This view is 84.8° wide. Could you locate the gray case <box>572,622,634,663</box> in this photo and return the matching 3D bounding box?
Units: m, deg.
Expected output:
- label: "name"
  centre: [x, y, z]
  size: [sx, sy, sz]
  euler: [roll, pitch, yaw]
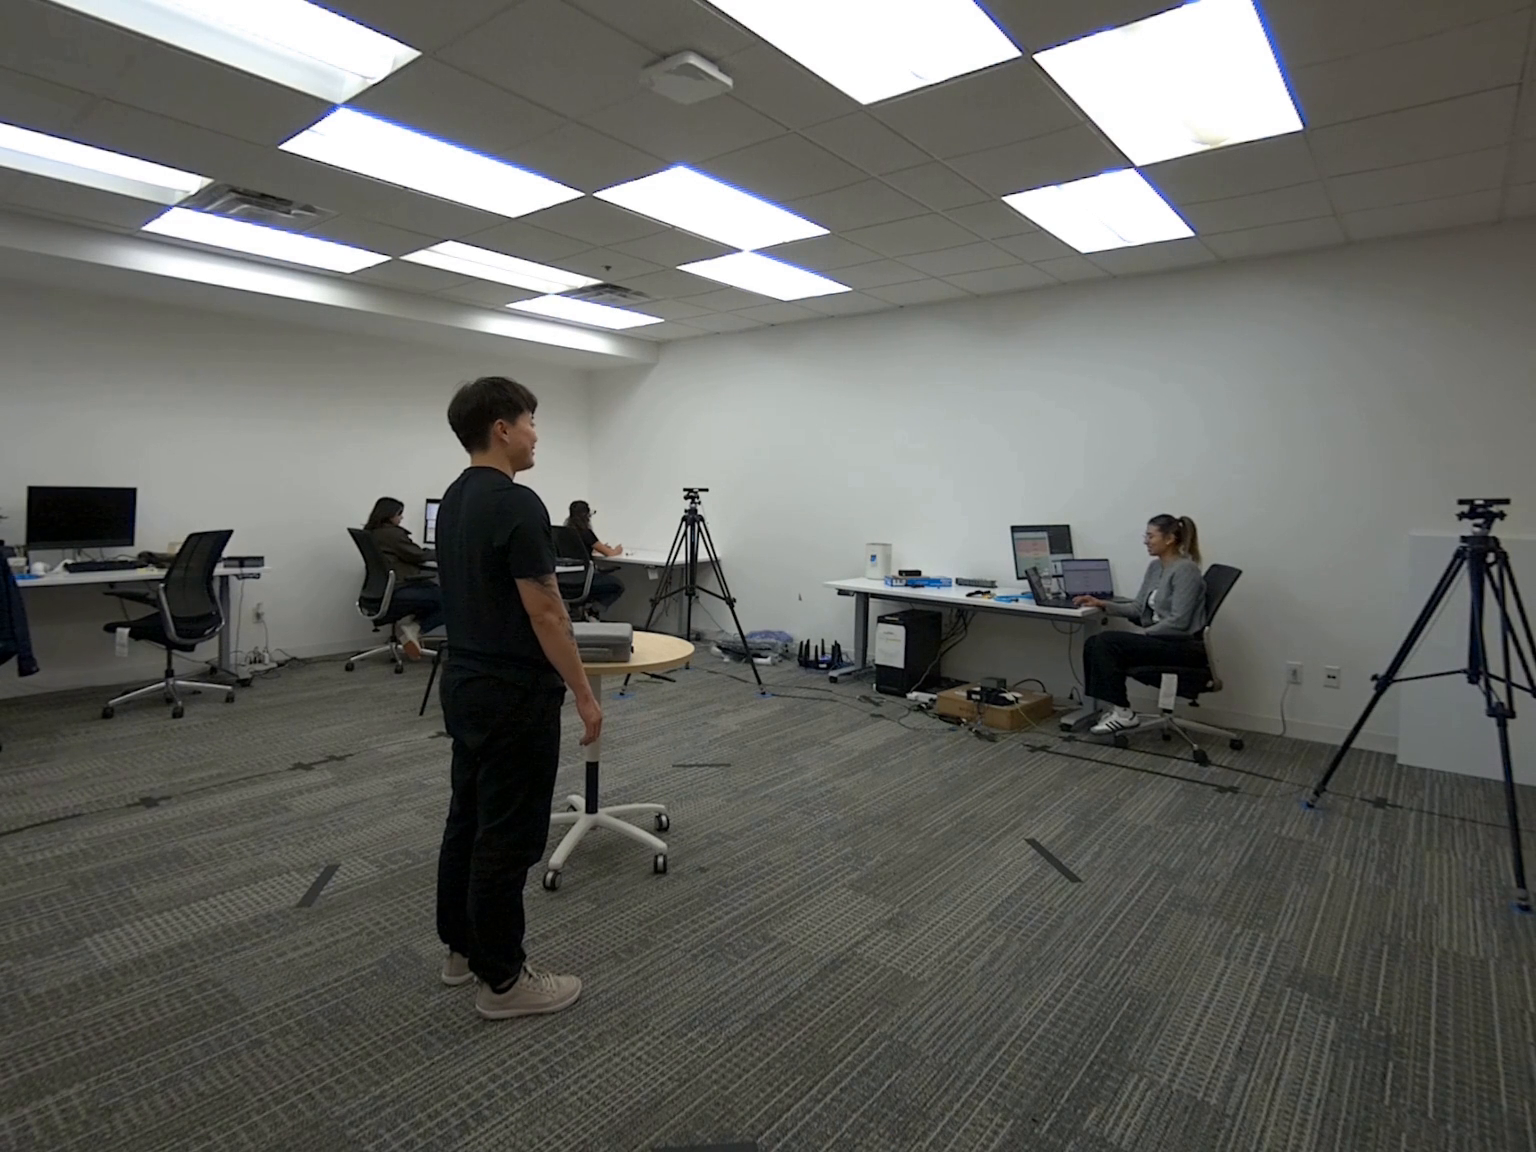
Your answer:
- label: "gray case"
  centre: [-0.624, 0.231, 3.063]
  size: [0.255, 0.104, 0.264]
  euler: [1, 8, -7]
